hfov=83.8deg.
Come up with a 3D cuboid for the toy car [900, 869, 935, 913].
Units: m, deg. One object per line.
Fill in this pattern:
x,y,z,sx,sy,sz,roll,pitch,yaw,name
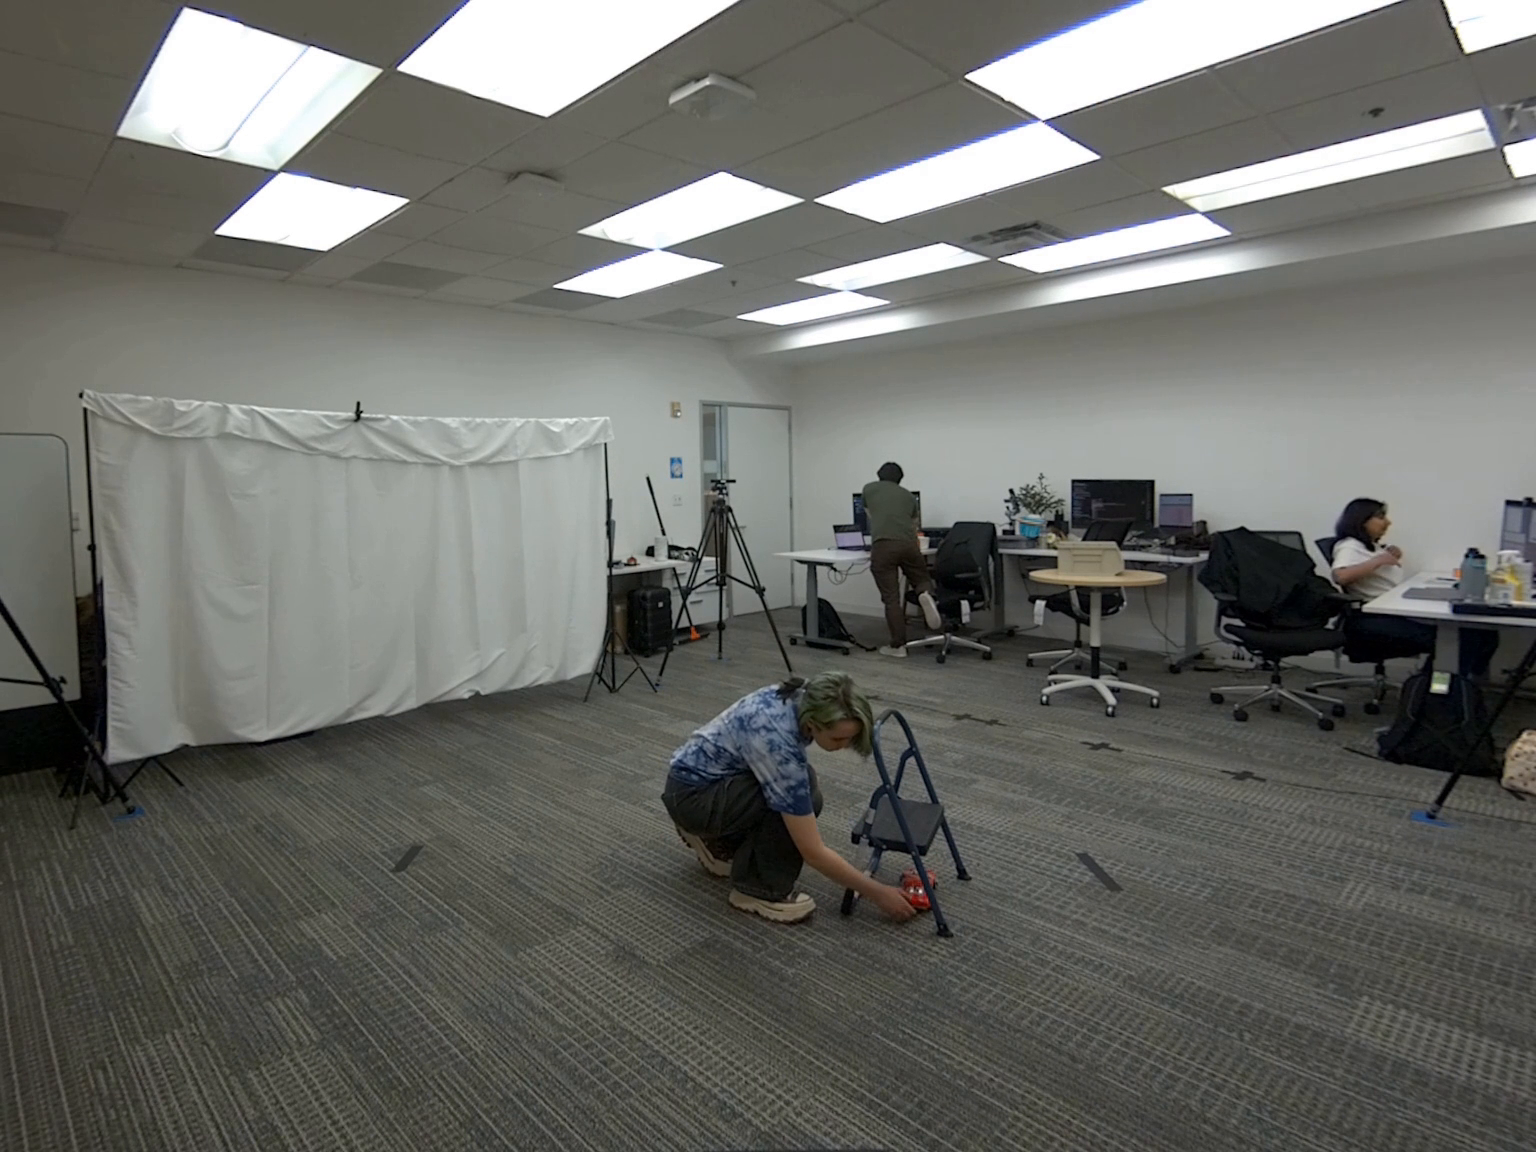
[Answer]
0.489,1.032,2.807,0.132,0.084,0.249,3,-7,13,toy car
